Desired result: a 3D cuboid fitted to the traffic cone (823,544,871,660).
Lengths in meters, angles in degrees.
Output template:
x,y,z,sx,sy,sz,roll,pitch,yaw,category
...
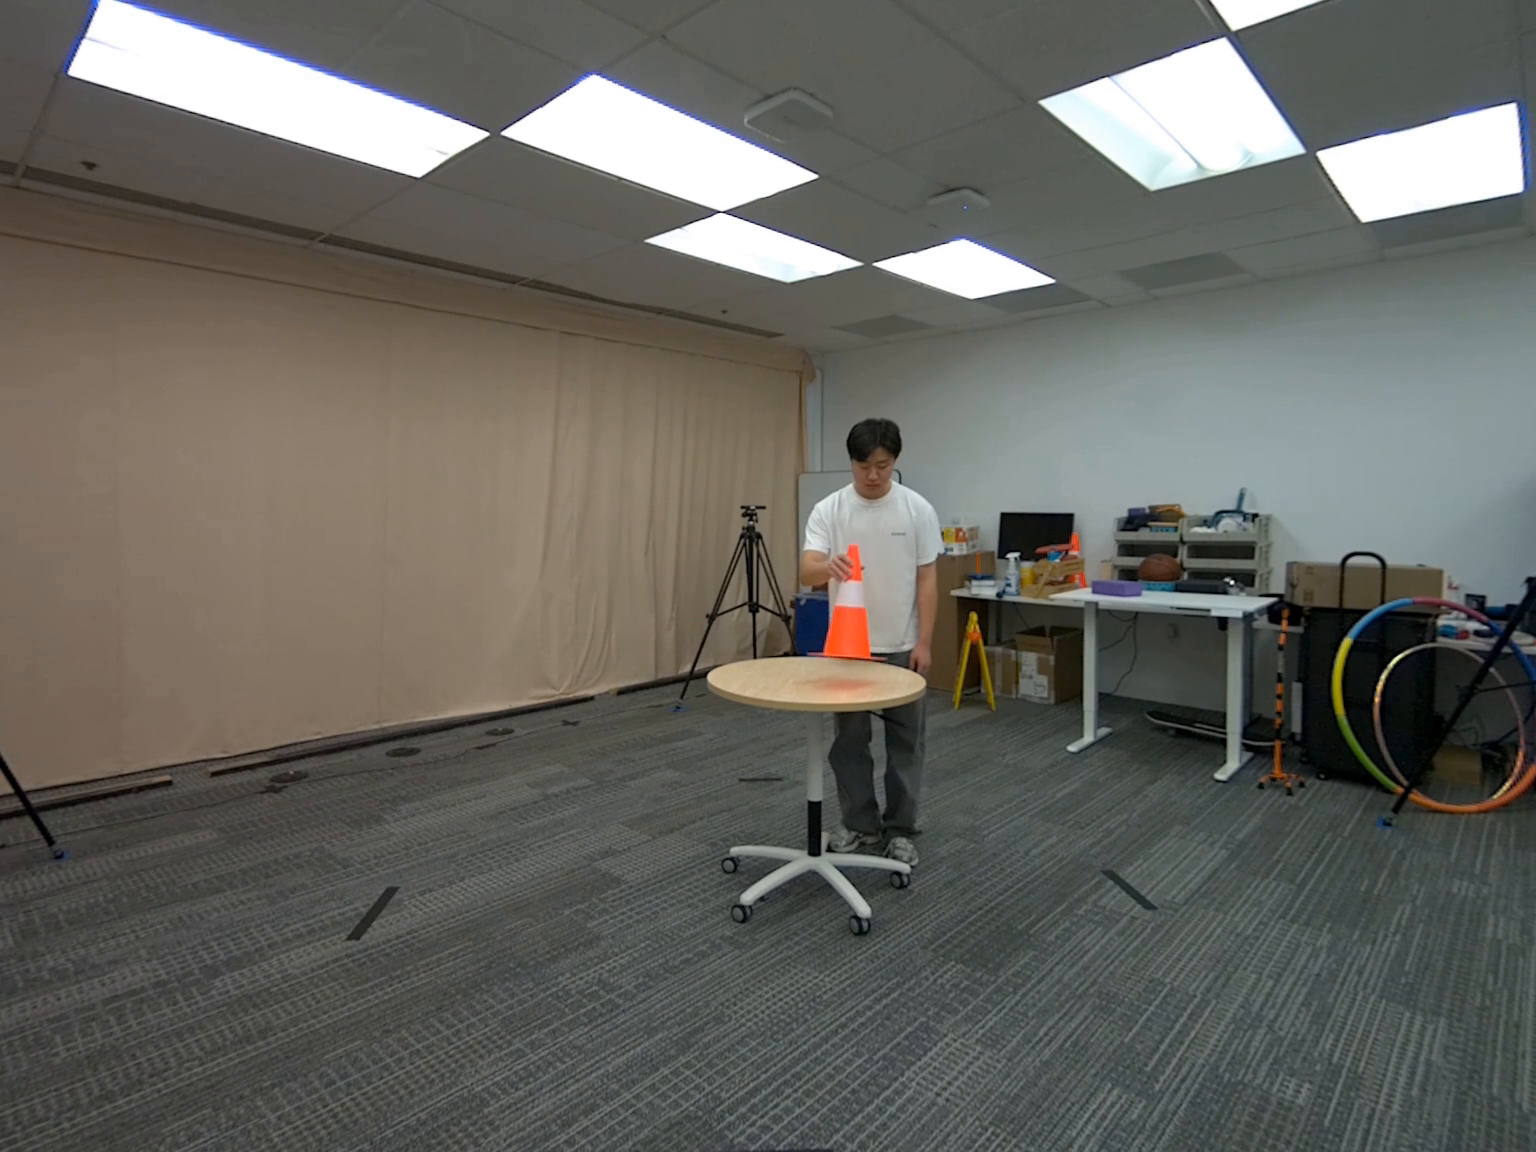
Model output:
x,y,z,sx,sy,sz,roll,pitch,yaw,category
0.287,0.104,2.868,0.211,0.384,0.197,-1,-4,32,traffic cone
